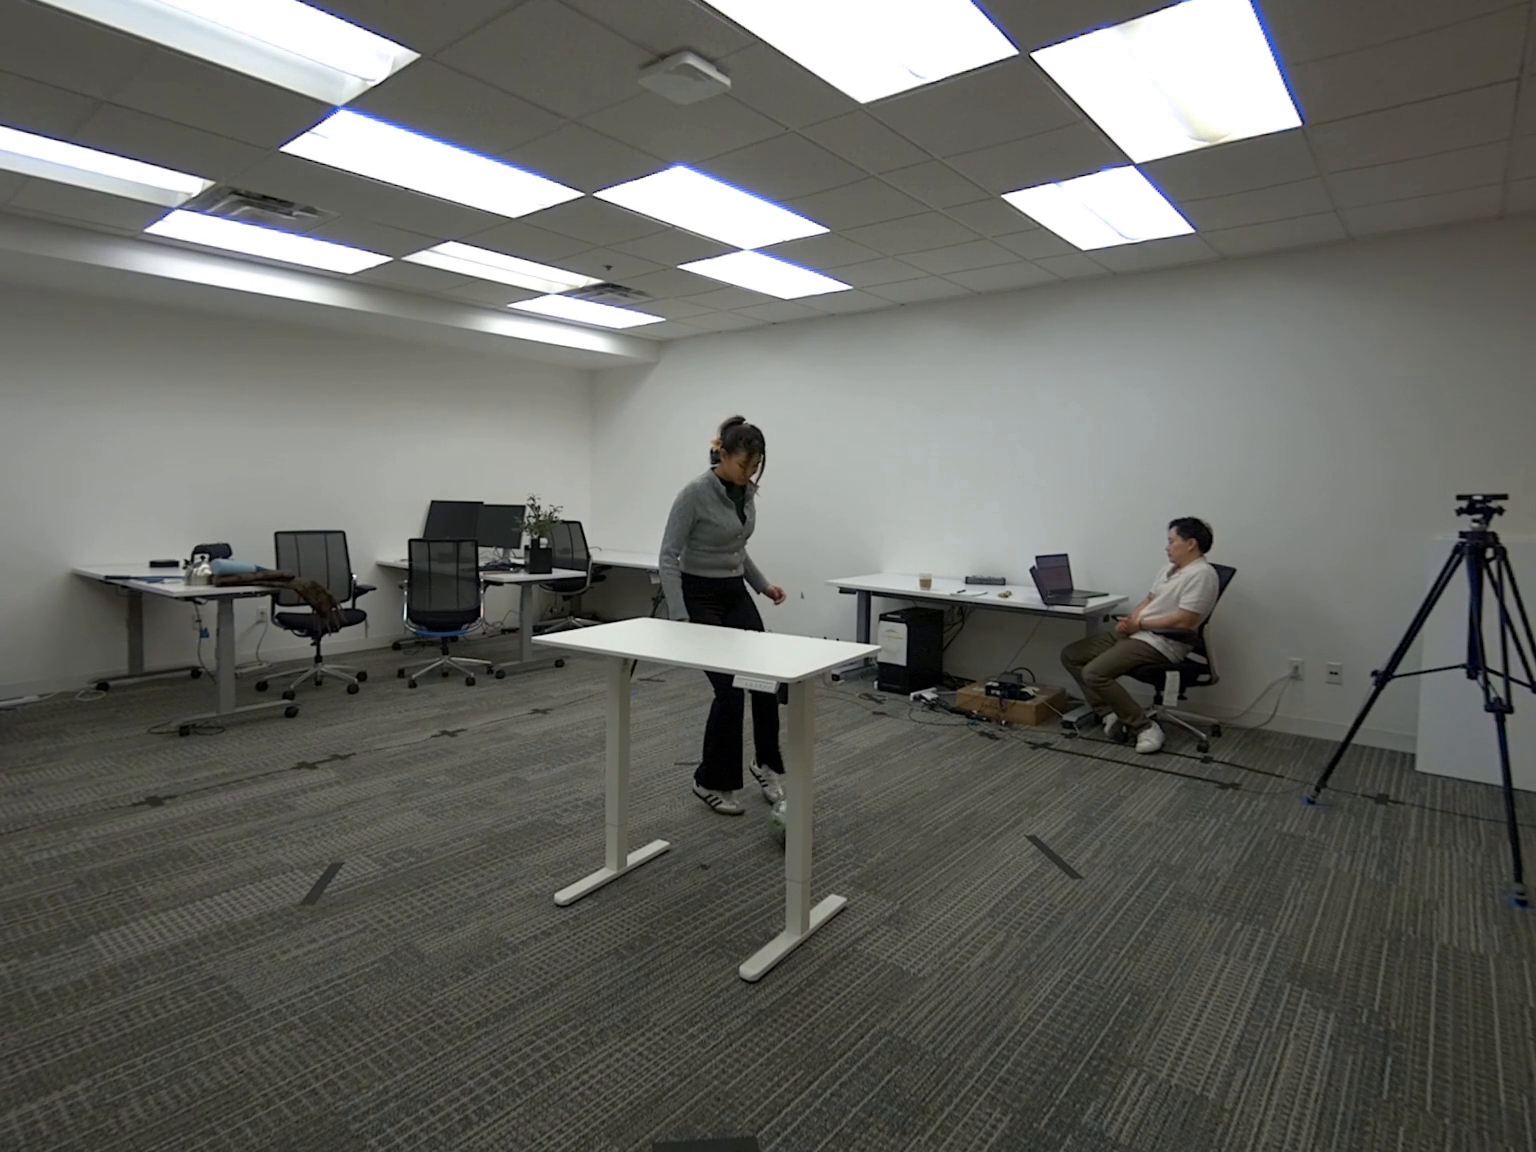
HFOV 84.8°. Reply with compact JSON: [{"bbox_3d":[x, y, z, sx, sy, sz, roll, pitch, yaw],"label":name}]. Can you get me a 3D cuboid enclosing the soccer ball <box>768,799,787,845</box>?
[{"bbox_3d":[0.088,0.945,3.316,0.187,0.187,0.188,0,4,-2],"label":"soccer ball"}]
